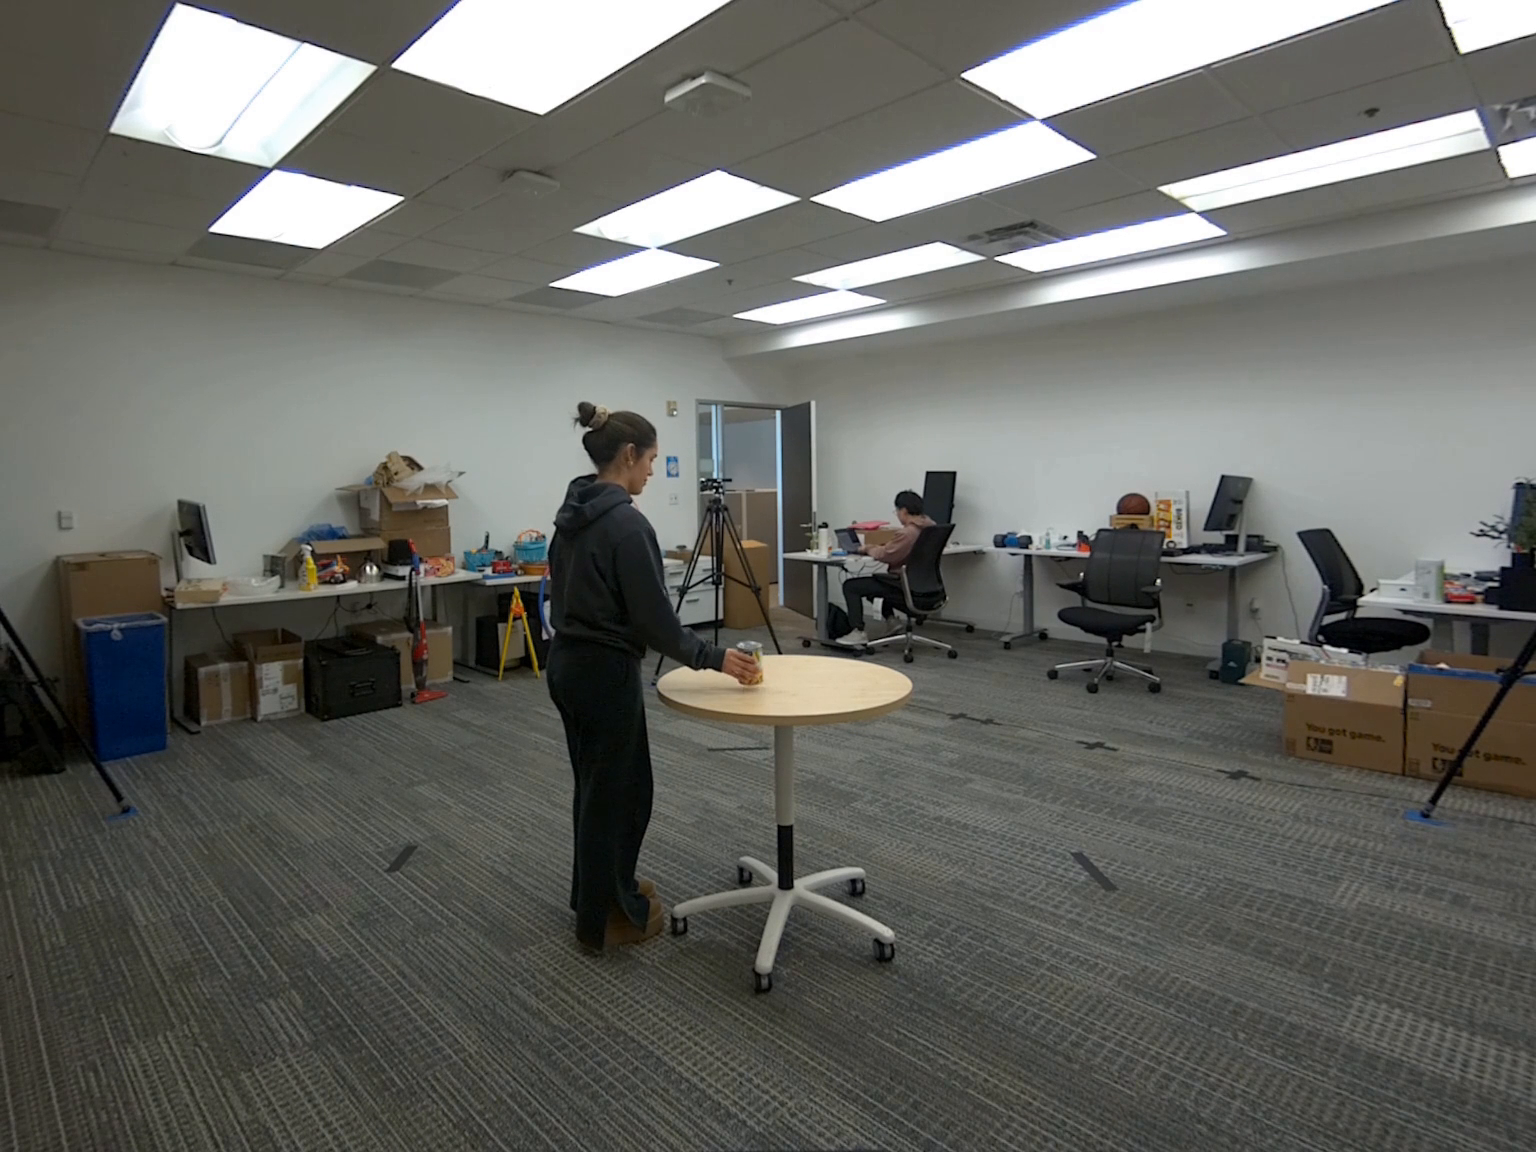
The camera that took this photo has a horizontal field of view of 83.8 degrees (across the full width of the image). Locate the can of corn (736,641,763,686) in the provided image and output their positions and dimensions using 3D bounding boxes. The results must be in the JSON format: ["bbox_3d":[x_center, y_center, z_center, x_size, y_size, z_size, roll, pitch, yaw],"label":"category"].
[{"bbox_3d":[-0.061,0.251,2.489,0.074,0.110,0.075,-5,9,-1],"label":"can of corn"}]
